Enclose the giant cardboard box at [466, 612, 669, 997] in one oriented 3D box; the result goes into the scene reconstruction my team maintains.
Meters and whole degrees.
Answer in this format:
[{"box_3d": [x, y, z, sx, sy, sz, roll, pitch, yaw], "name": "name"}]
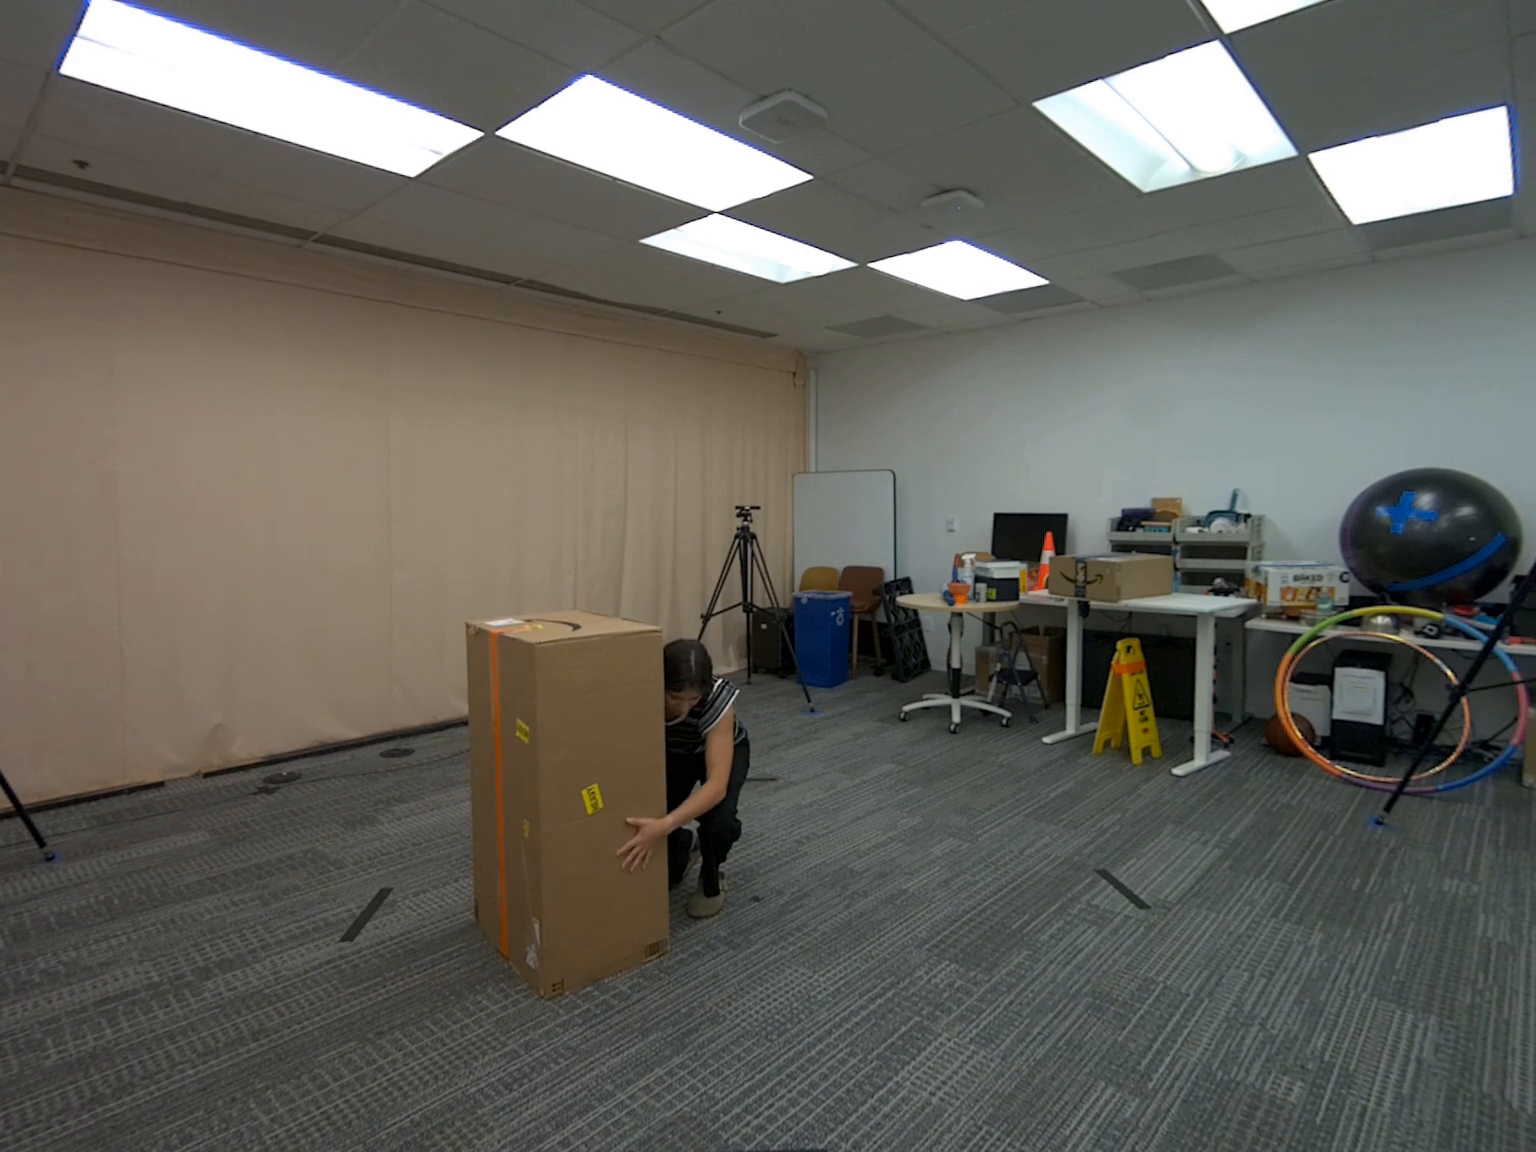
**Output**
[{"box_3d": [-0.656, 0.659, 2.698, 0.413, 1.024, 0.596, -3, 4, -38], "name": "giant cardboard box"}]
